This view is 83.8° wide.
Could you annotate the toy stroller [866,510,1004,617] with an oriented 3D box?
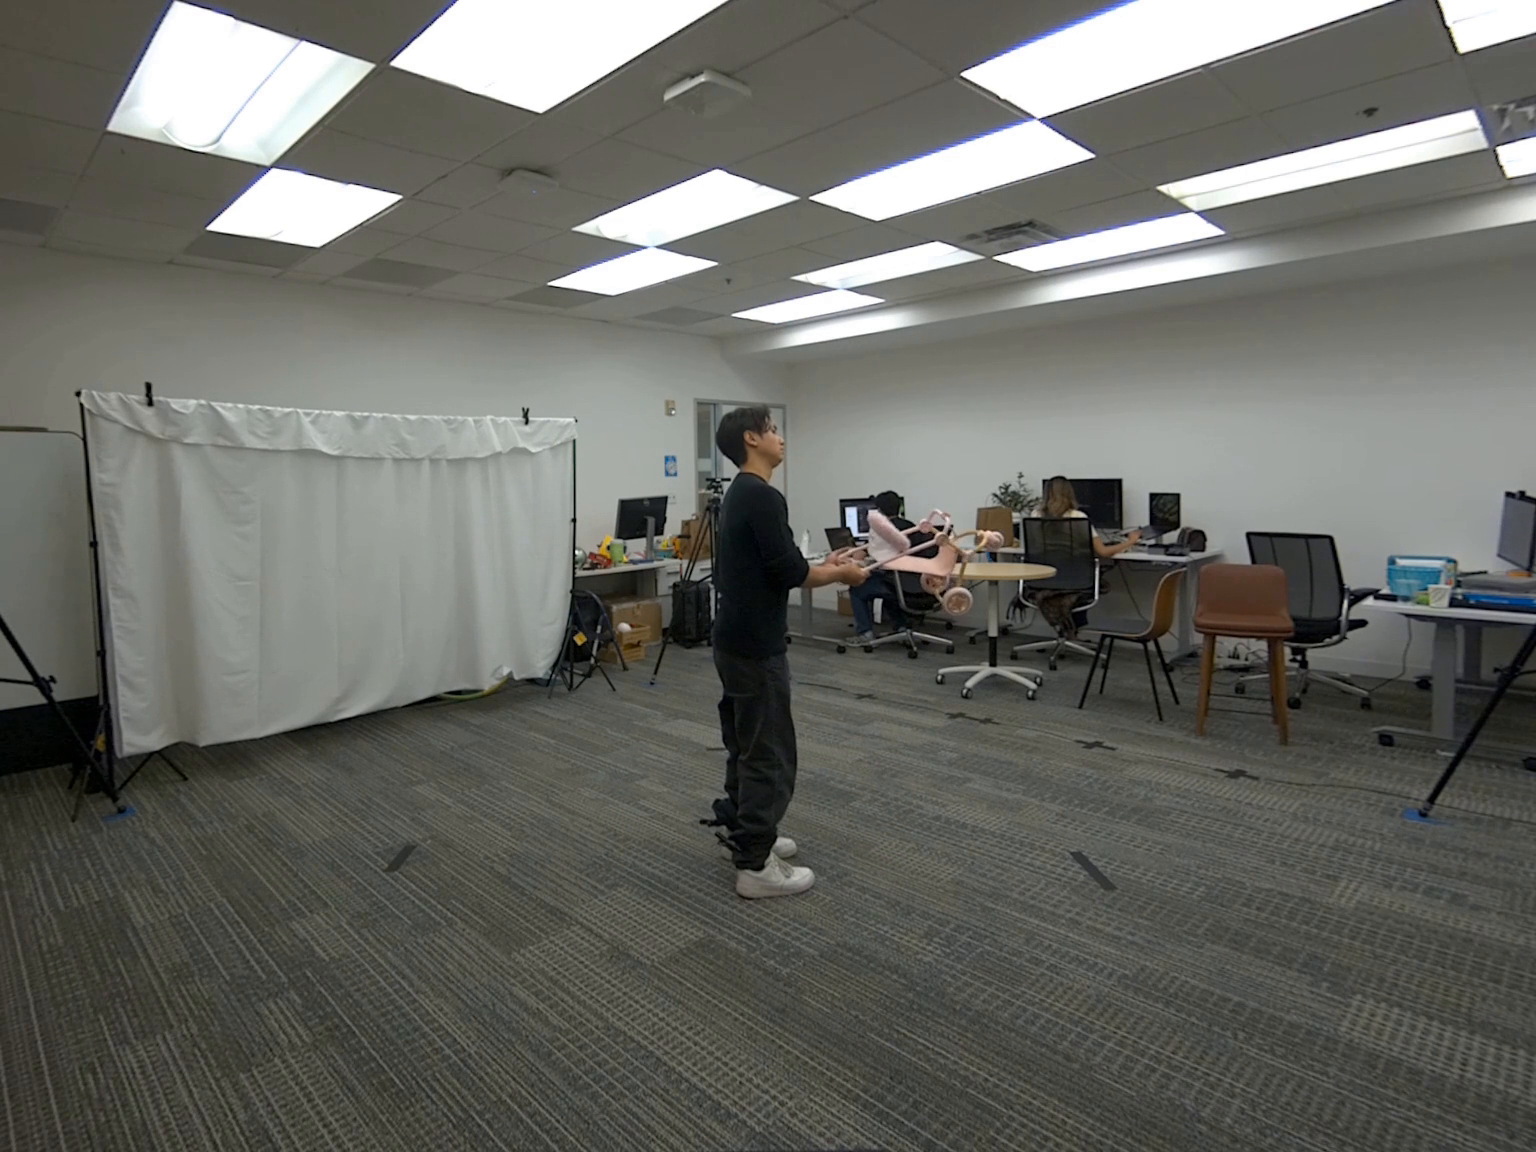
[{"bbox_3d":[0.568,-0.091,3.113,0.529,0.339,0.287,21,18,-9],"label":"toy stroller"}]
